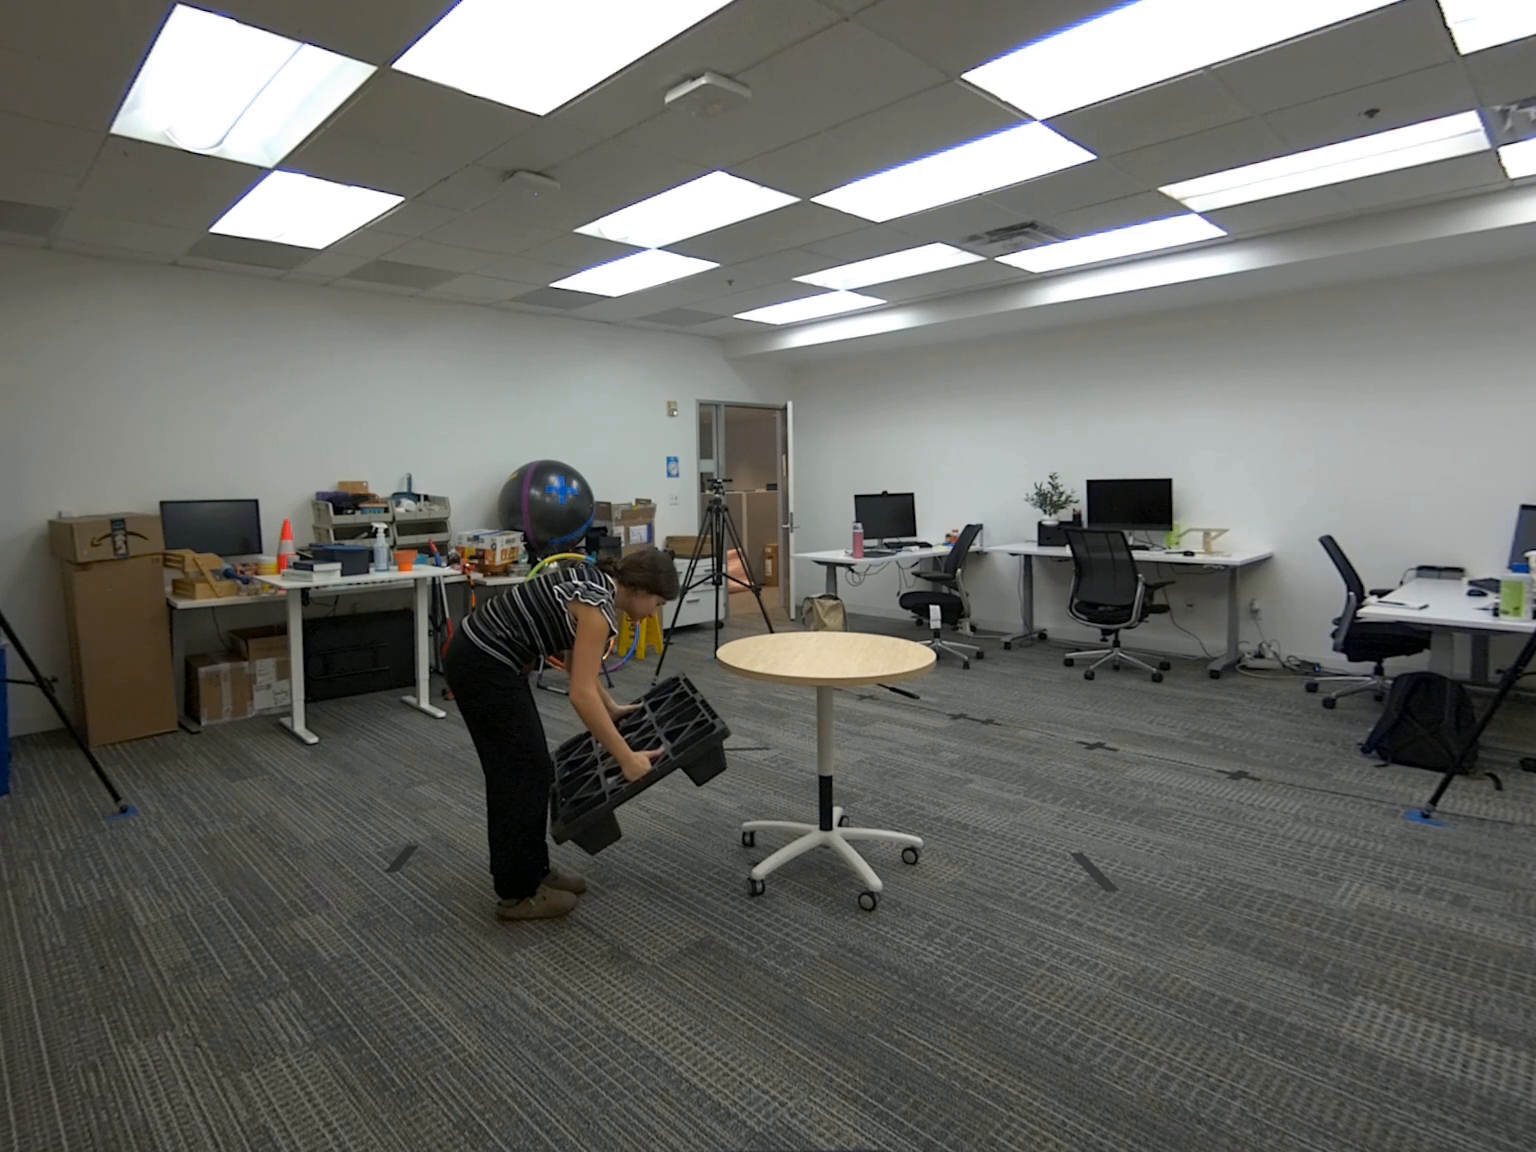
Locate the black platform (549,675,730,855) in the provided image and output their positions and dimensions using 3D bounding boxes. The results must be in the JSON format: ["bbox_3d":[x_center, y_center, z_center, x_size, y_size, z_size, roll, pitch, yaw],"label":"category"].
[{"bbox_3d":[-0.446,0.612,2.893,0.603,0.141,0.819,-31,12,-9],"label":"black platform"}]
